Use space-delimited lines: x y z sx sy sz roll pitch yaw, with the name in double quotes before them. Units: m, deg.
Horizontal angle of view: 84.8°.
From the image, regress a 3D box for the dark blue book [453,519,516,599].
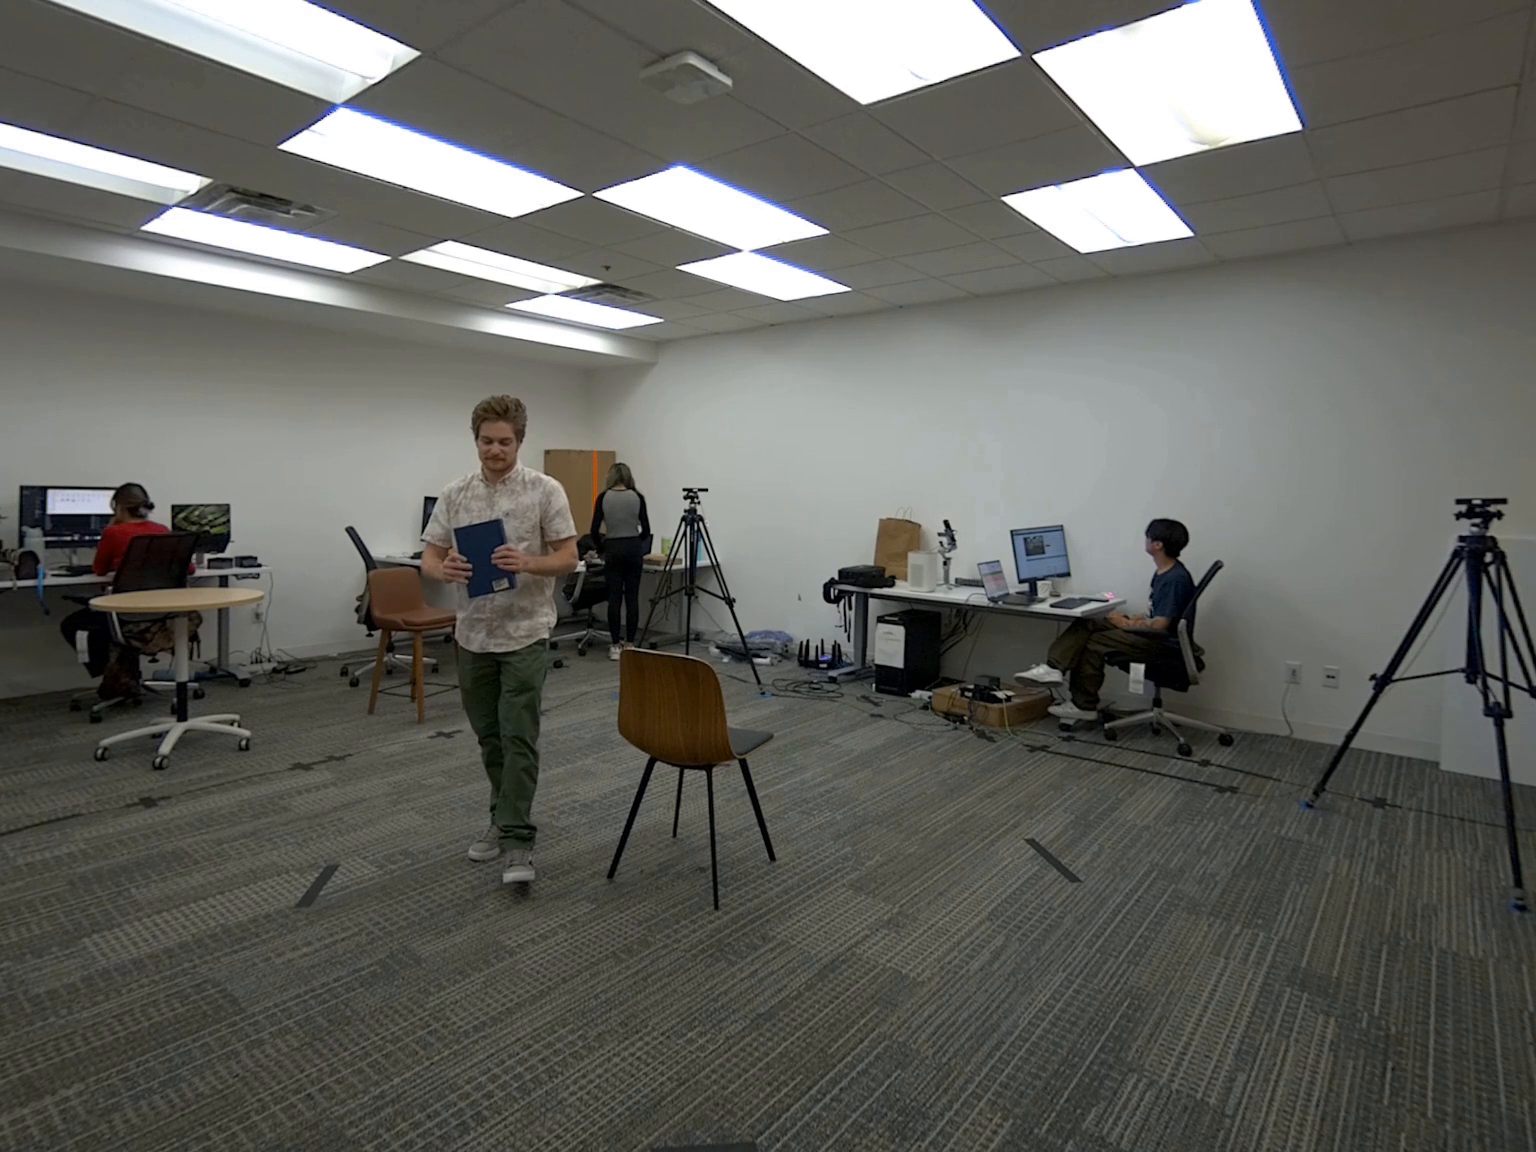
"dark blue book" -0.992 -0.063 2.900 0.163 0.244 0.045 -10 2 0
